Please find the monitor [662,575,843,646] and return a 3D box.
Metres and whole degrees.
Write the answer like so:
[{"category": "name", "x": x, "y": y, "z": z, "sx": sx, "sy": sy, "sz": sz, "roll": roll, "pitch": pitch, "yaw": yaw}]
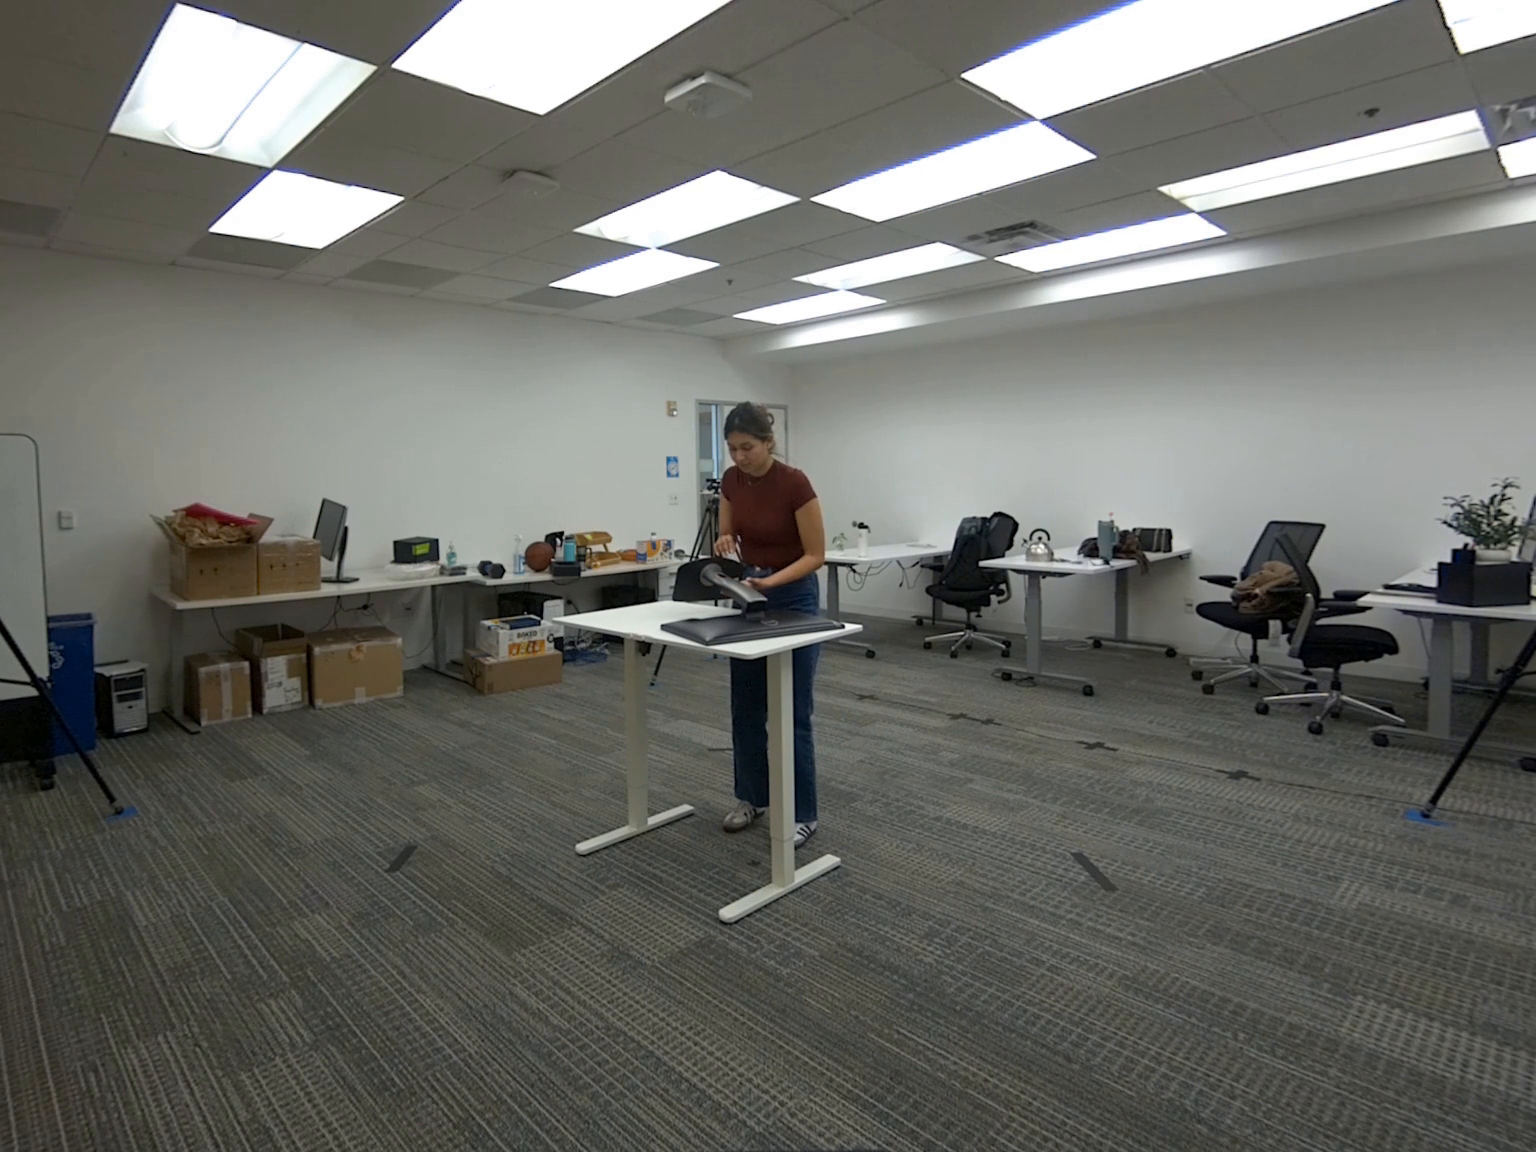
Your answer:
[{"category": "monitor", "x": -0.101, "y": 0.107, "z": 3.004, "sx": 0.527, "sy": 0.184, "sz": 0.542, "roll": -5, "pitch": 23, "yaw": -28}]
